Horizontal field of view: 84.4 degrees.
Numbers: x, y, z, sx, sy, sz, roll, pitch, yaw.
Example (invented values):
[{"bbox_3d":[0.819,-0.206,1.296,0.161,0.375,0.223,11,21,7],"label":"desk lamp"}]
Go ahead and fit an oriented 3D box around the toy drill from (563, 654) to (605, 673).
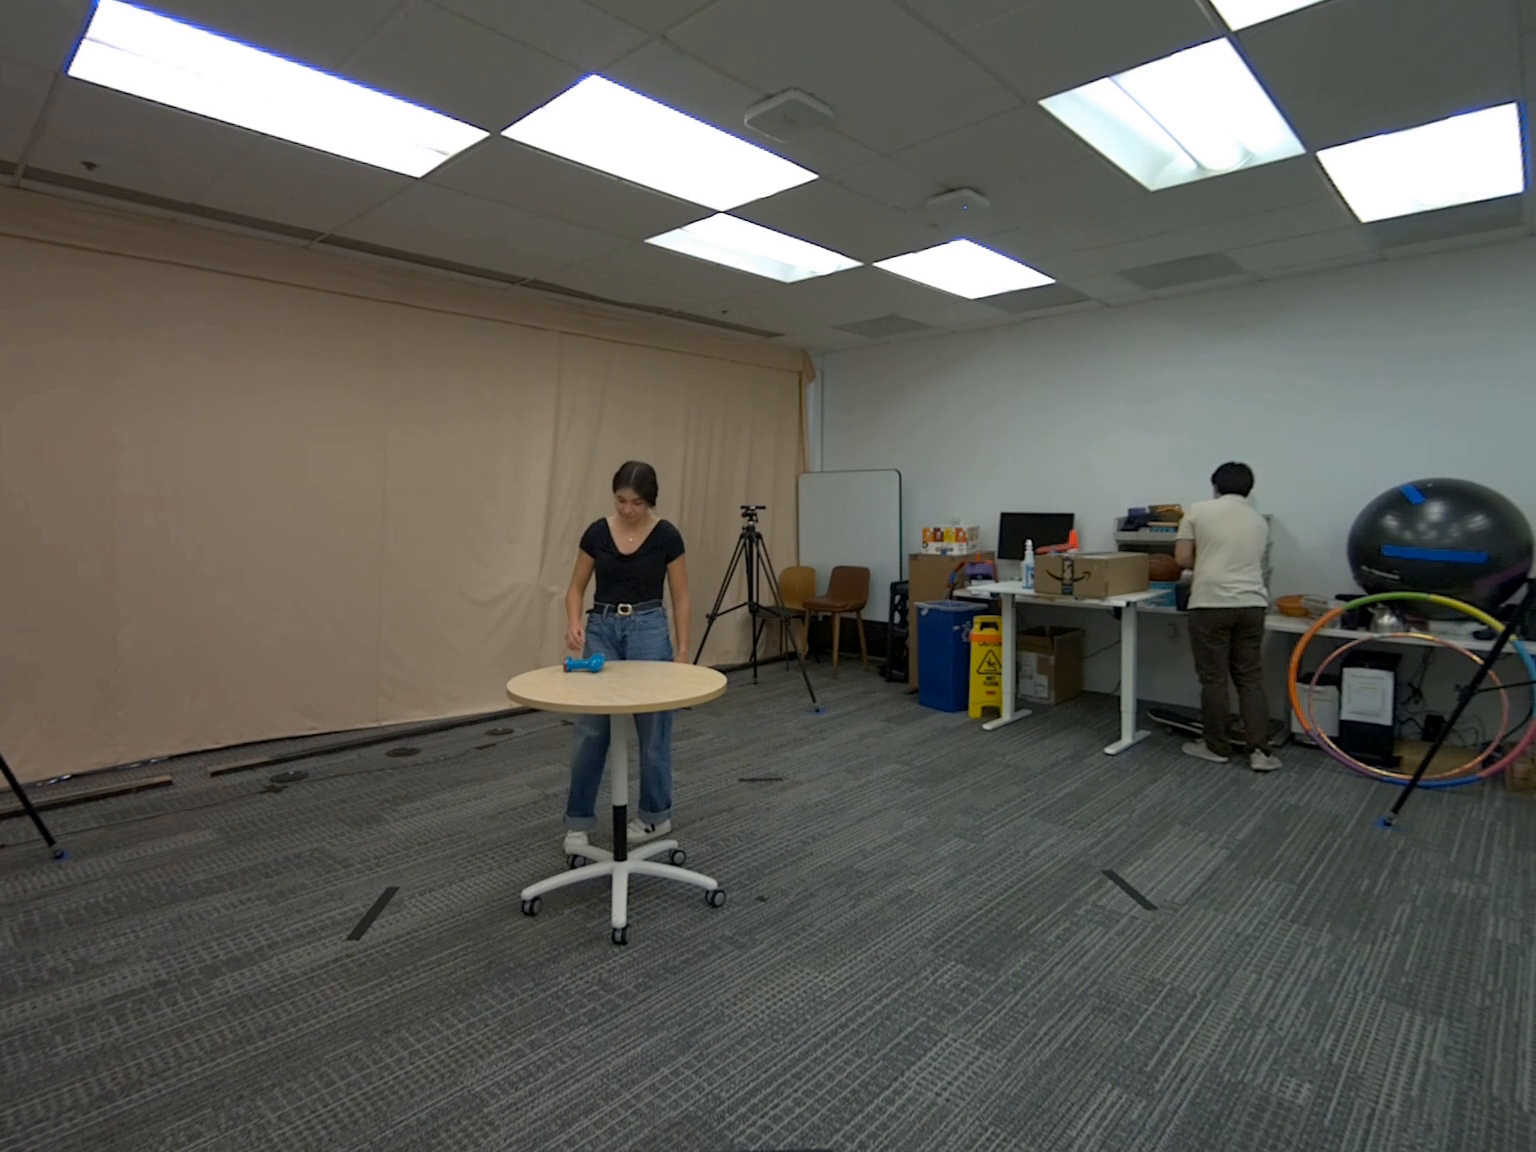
[{"bbox_3d":[-0.687,0.318,3.156,0.146,0.061,0.170,-1,10,1],"label":"toy drill"}]
